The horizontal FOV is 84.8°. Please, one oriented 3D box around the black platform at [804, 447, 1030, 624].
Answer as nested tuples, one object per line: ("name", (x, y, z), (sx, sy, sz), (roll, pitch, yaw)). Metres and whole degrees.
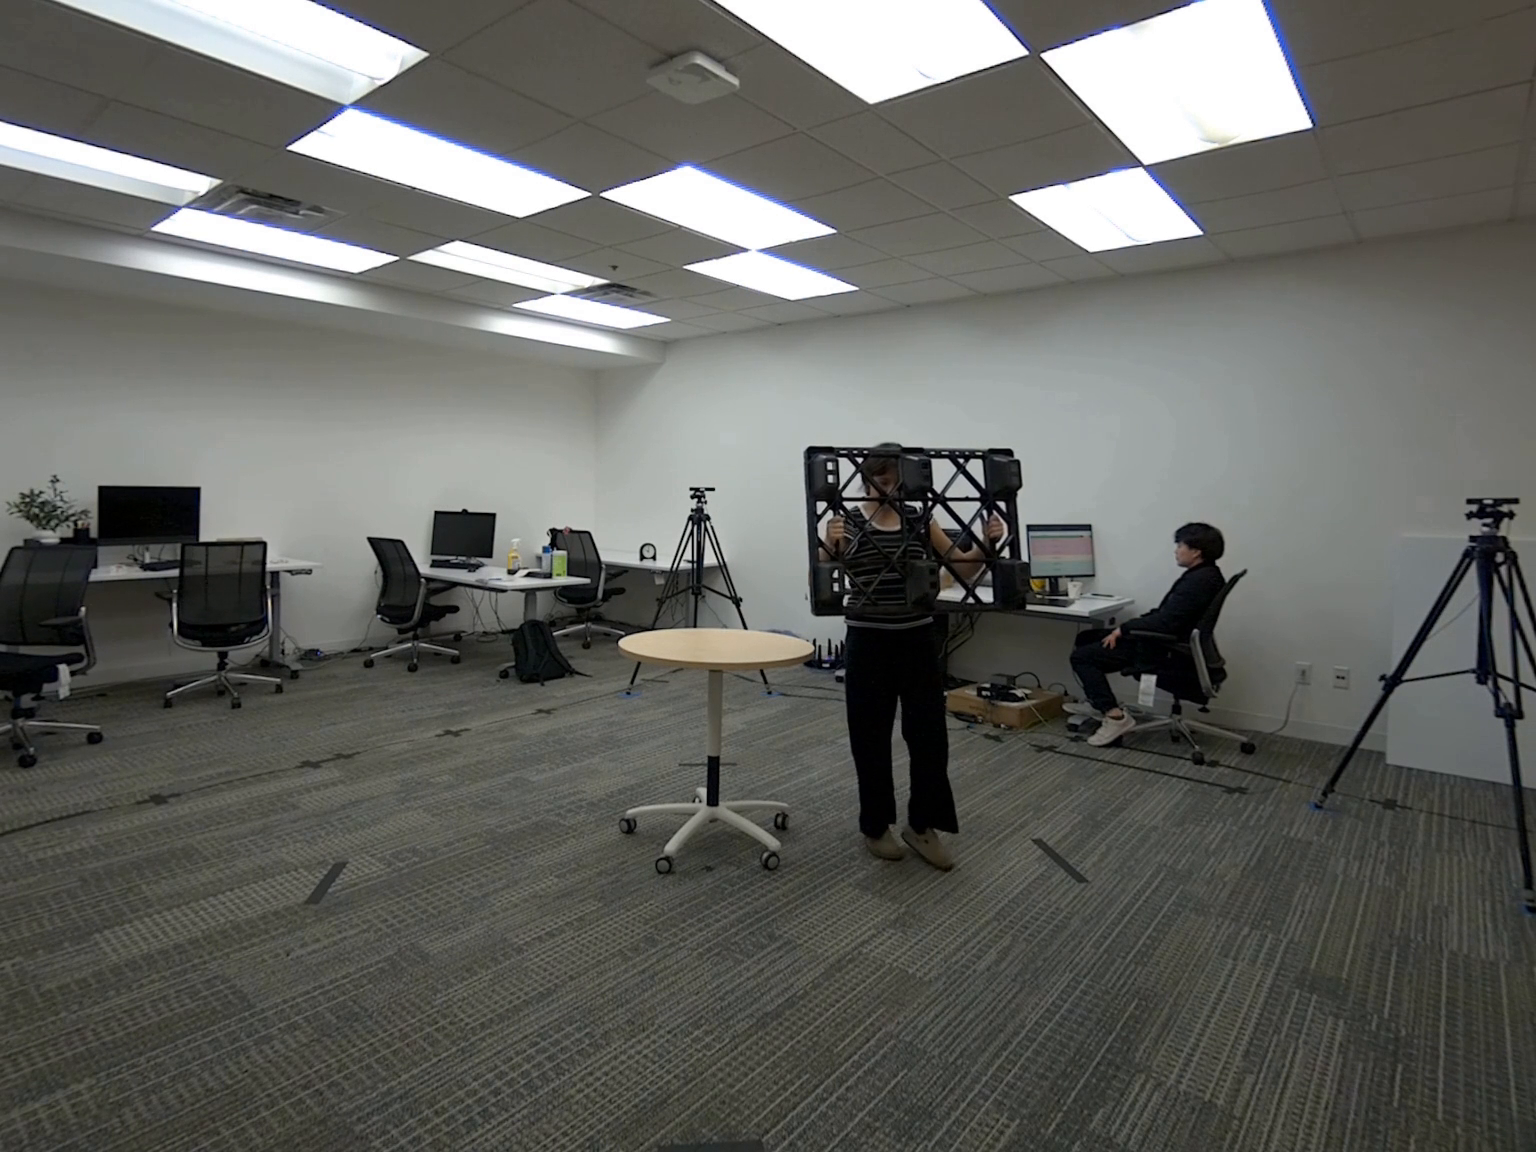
("black platform", (0.539, -0.174, 3.001), (0.797, 0.608, 0.144), (-1, -5, -9))
